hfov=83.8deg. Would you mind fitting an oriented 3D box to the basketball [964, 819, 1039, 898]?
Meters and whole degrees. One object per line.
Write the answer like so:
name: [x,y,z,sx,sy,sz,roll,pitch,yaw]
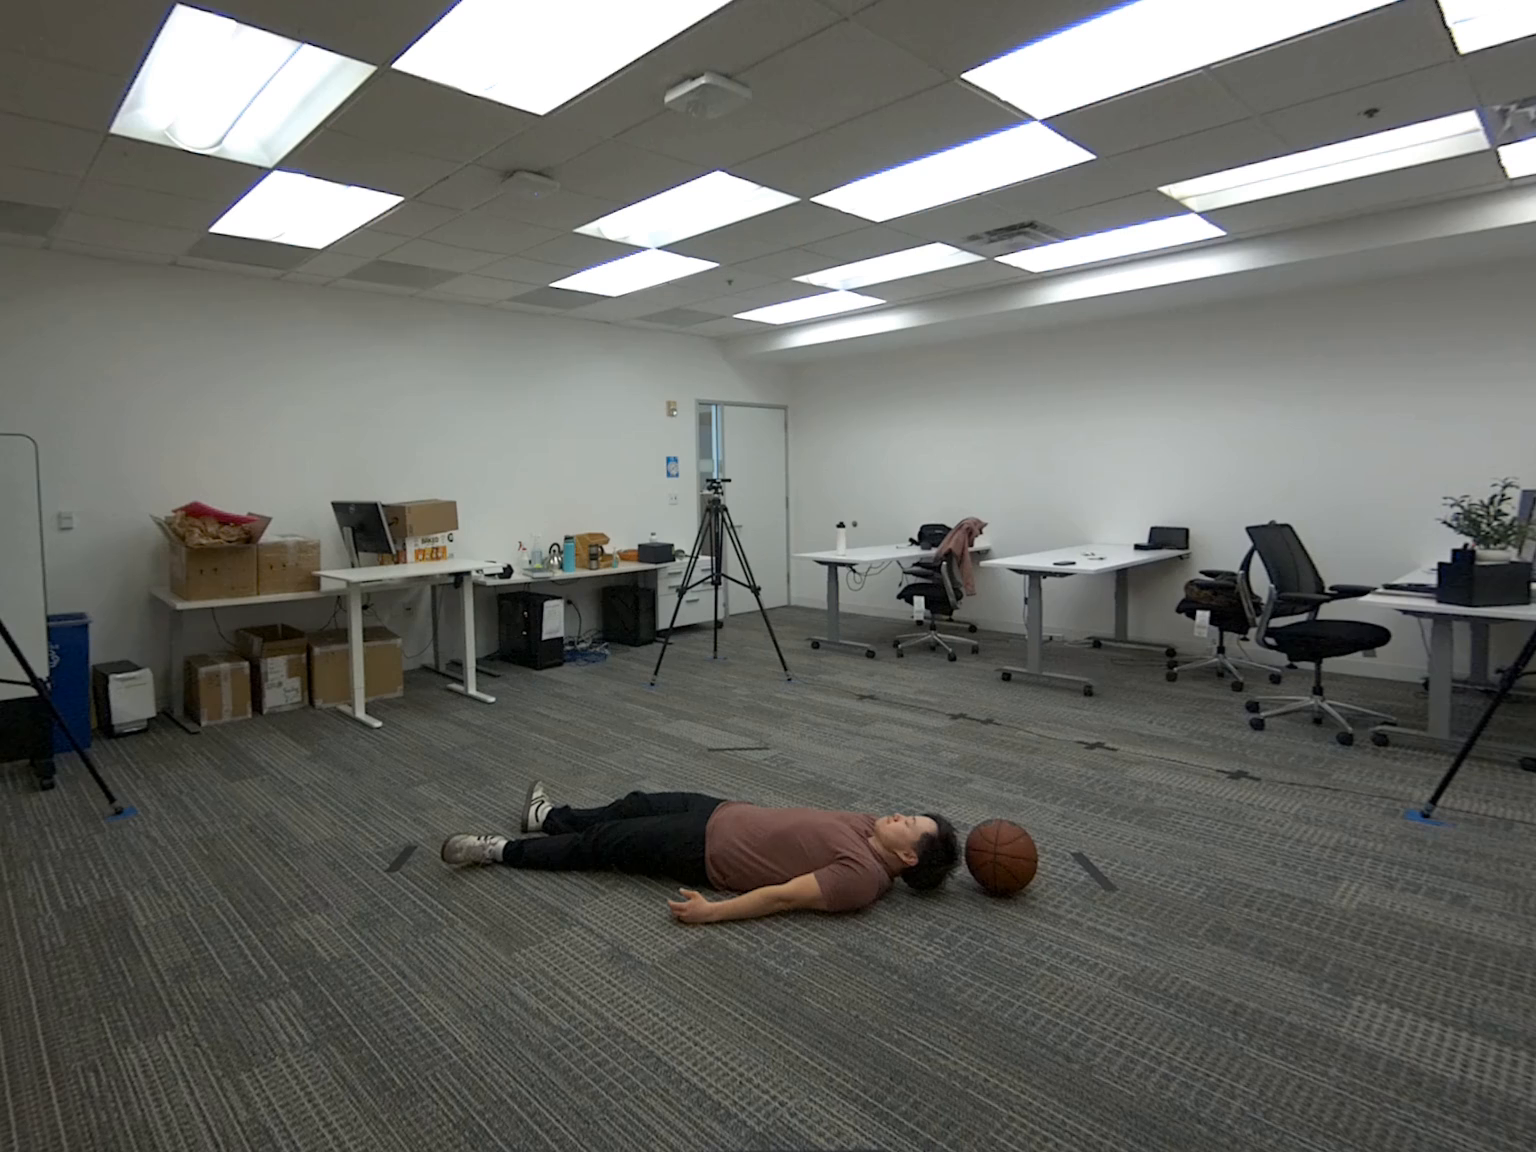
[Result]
basketball: [0.787,0.934,2.876,0.236,0.236,0.236,0,1,-2]
